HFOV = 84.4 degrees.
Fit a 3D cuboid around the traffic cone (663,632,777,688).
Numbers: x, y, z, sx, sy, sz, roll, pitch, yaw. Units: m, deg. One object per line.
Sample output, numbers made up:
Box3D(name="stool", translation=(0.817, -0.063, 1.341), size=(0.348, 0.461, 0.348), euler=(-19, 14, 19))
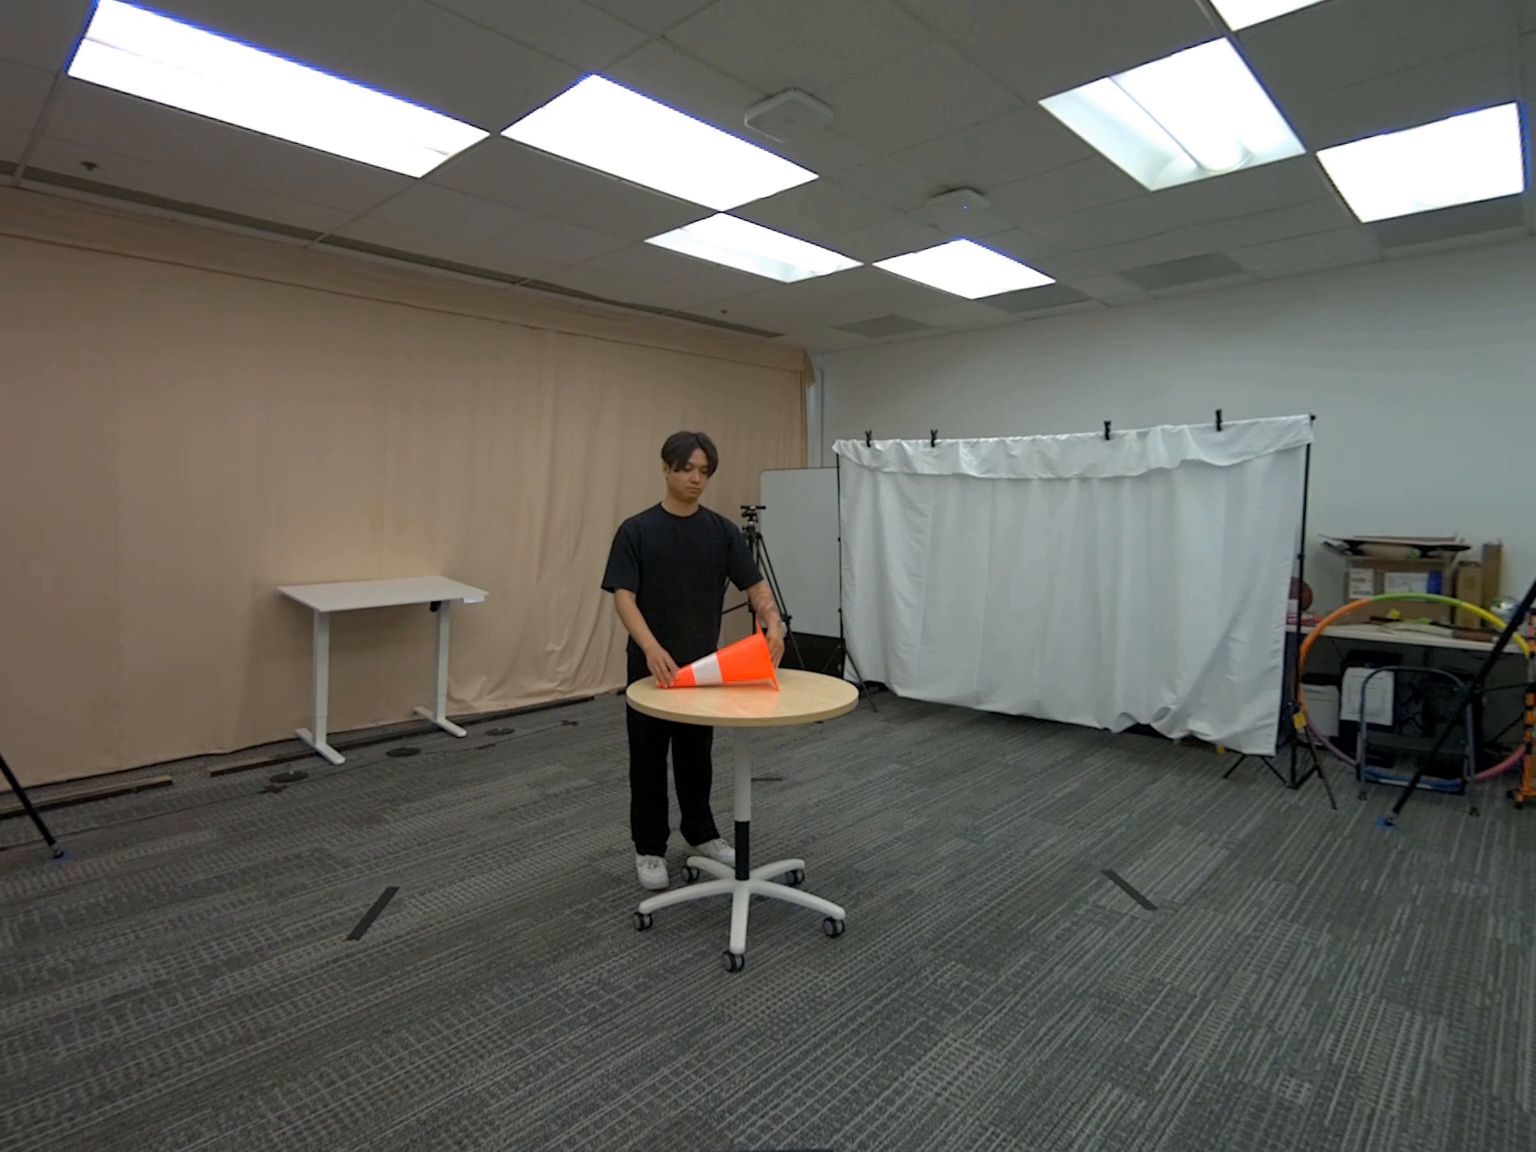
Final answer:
Box3D(name="traffic cone", translation=(-0.191, 0.310, 2.826), size=(0.383, 0.203, 0.206), euler=(-12, 14, -2))
